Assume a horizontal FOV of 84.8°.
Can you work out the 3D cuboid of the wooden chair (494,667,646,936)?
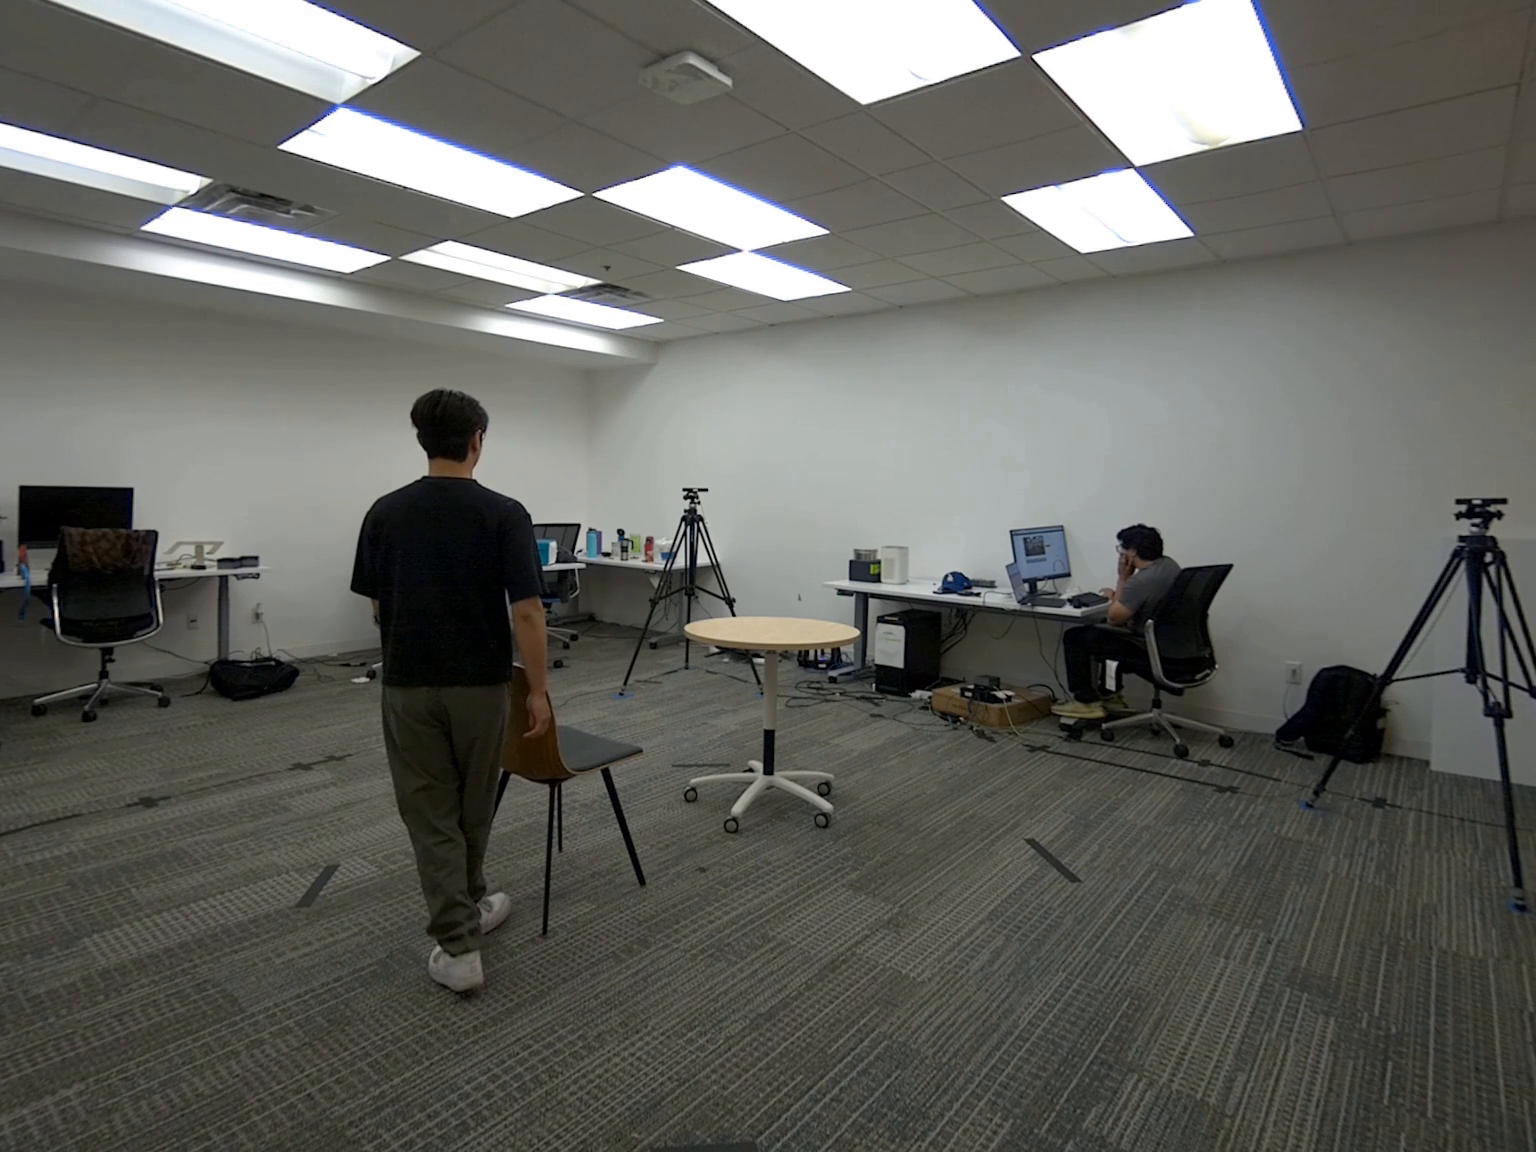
[{"bbox_3d":[-0.736,0.651,2.920,0.493,0.872,0.510,3,8,37],"label":"wooden chair"}]
